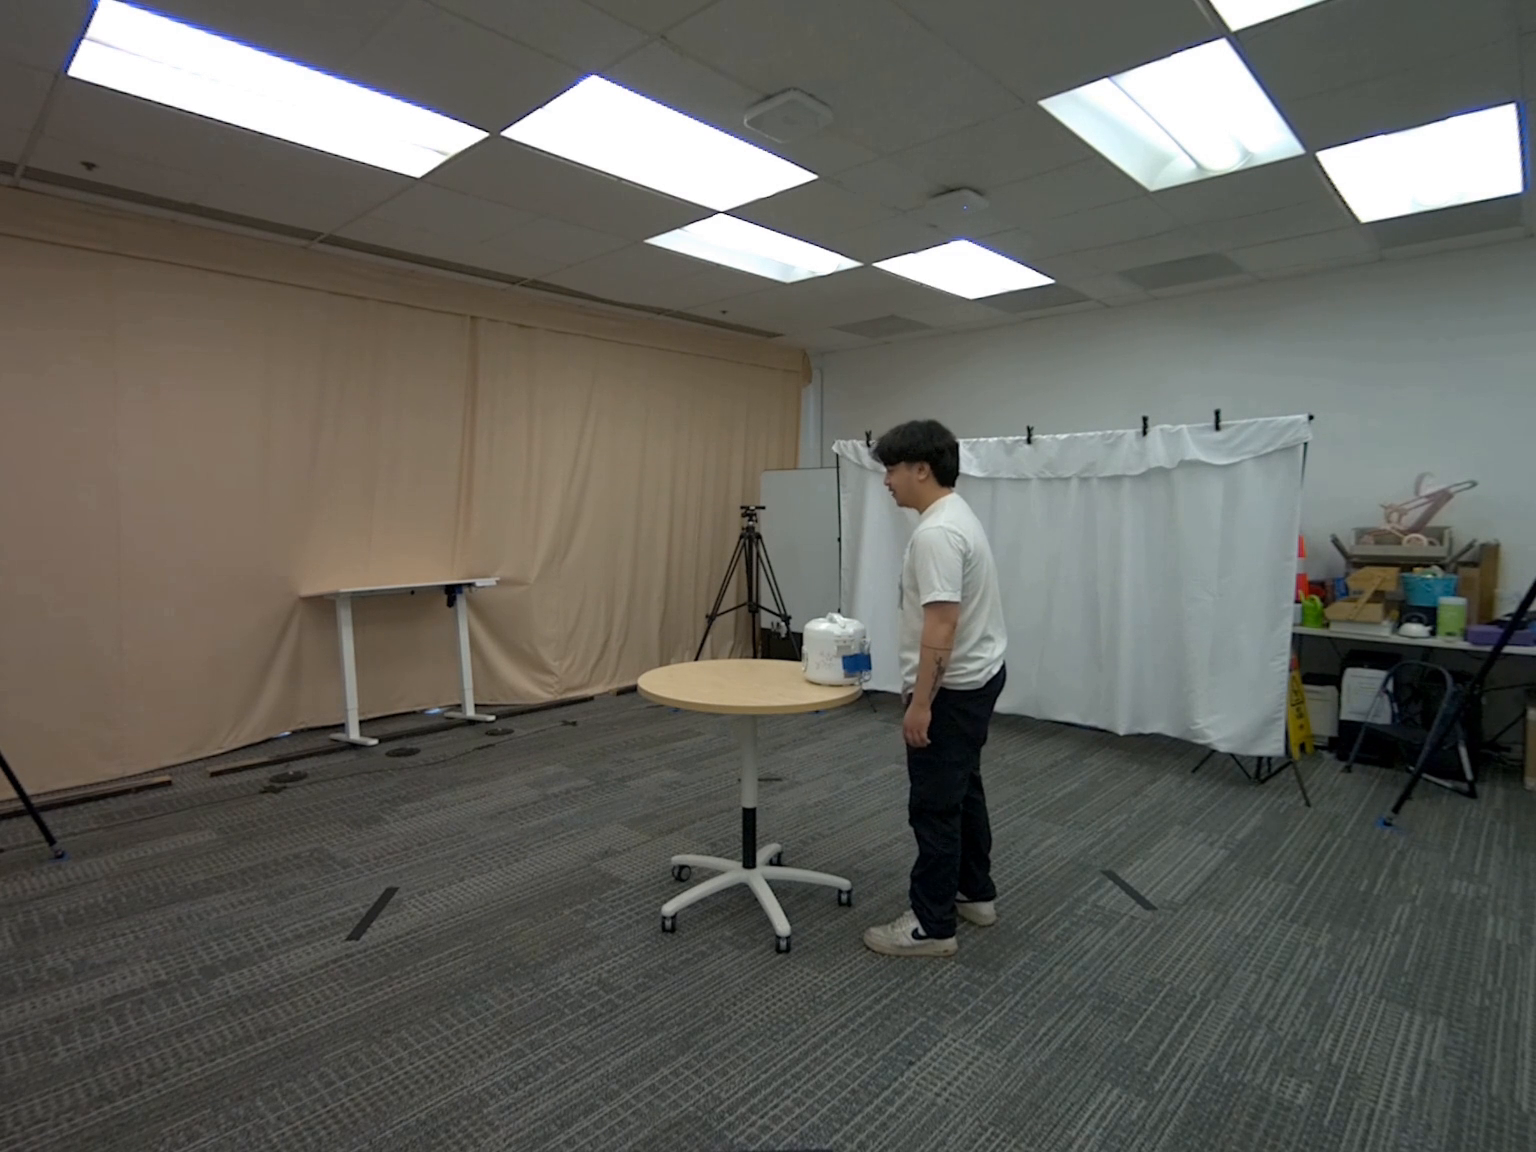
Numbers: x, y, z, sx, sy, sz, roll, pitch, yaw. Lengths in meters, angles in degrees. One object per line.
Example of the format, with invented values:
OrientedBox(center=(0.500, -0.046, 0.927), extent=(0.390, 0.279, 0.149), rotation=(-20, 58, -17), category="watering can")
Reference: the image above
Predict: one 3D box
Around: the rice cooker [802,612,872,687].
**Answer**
OrientedBox(center=(0.232, 0.245, 2.860), extent=(0.215, 0.232, 0.223), rotation=(1, 3, -10), category="rice cooker")
